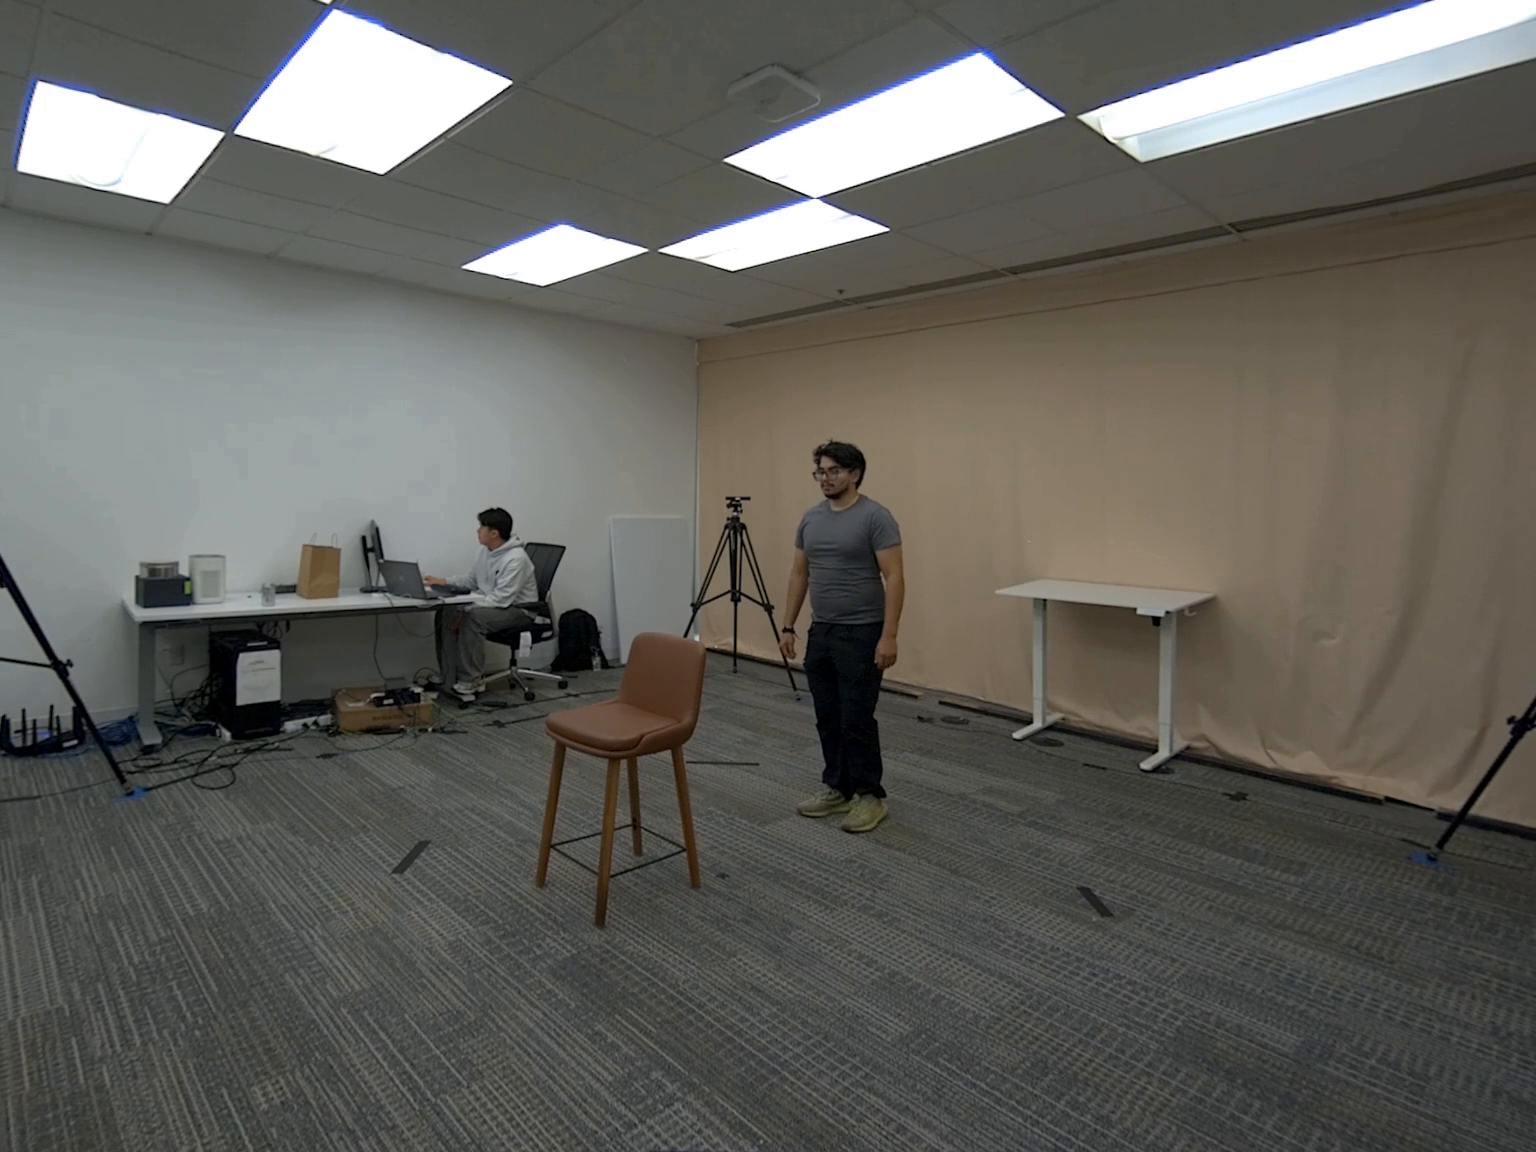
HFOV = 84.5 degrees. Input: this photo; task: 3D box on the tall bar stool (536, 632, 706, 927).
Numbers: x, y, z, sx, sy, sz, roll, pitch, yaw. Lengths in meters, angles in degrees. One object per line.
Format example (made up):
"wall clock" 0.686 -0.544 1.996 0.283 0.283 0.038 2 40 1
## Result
"tall bar stool" -0.519 0.675 2.979 0.456 0.888 0.468 0 3 -44
